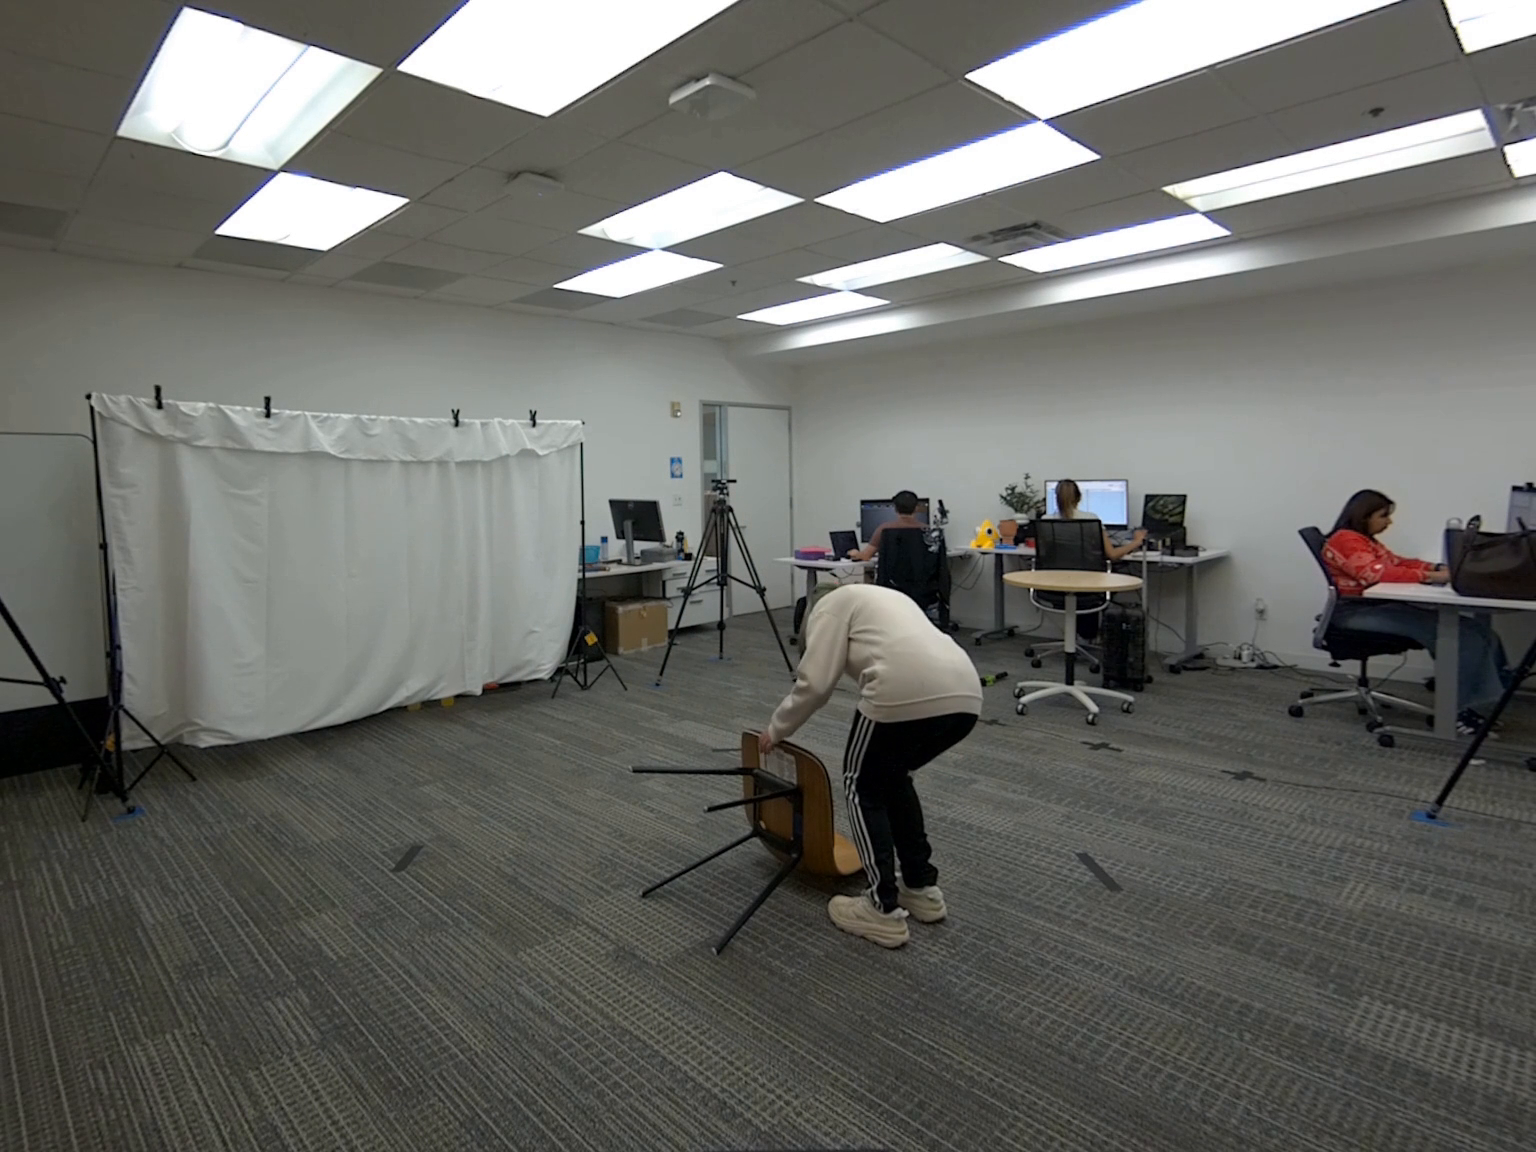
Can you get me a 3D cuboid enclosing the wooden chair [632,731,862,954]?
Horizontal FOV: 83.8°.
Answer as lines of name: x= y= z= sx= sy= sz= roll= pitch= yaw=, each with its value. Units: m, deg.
wooden chair: x=0.028 y=0.810 z=2.915 sx=0.854 sy=0.521 sz=0.492 roll=-4 pitch=5 yaw=-37
